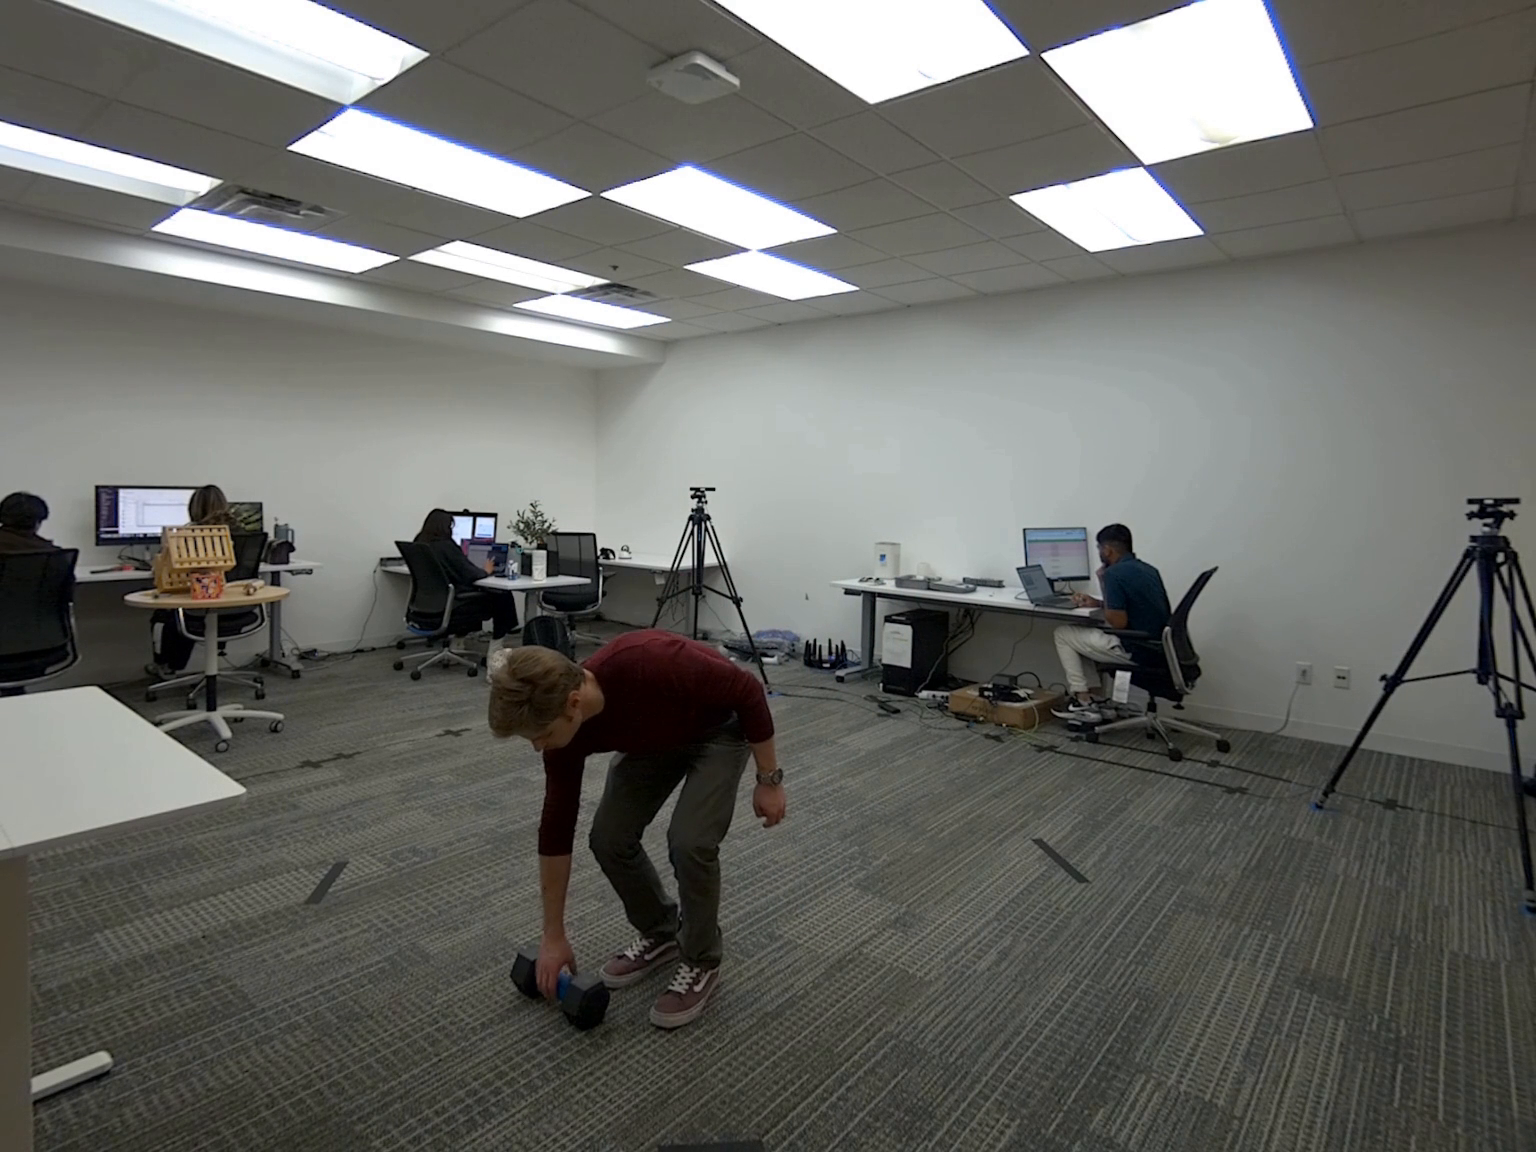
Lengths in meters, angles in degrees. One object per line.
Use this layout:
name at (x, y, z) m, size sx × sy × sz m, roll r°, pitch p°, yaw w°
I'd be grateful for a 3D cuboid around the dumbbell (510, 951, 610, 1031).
dumbbell at (-0.566, 1.093, 2.271) m, size 0.303 × 0.119 × 0.108 m, roll 4°, pitch 37°, yaw 38°
